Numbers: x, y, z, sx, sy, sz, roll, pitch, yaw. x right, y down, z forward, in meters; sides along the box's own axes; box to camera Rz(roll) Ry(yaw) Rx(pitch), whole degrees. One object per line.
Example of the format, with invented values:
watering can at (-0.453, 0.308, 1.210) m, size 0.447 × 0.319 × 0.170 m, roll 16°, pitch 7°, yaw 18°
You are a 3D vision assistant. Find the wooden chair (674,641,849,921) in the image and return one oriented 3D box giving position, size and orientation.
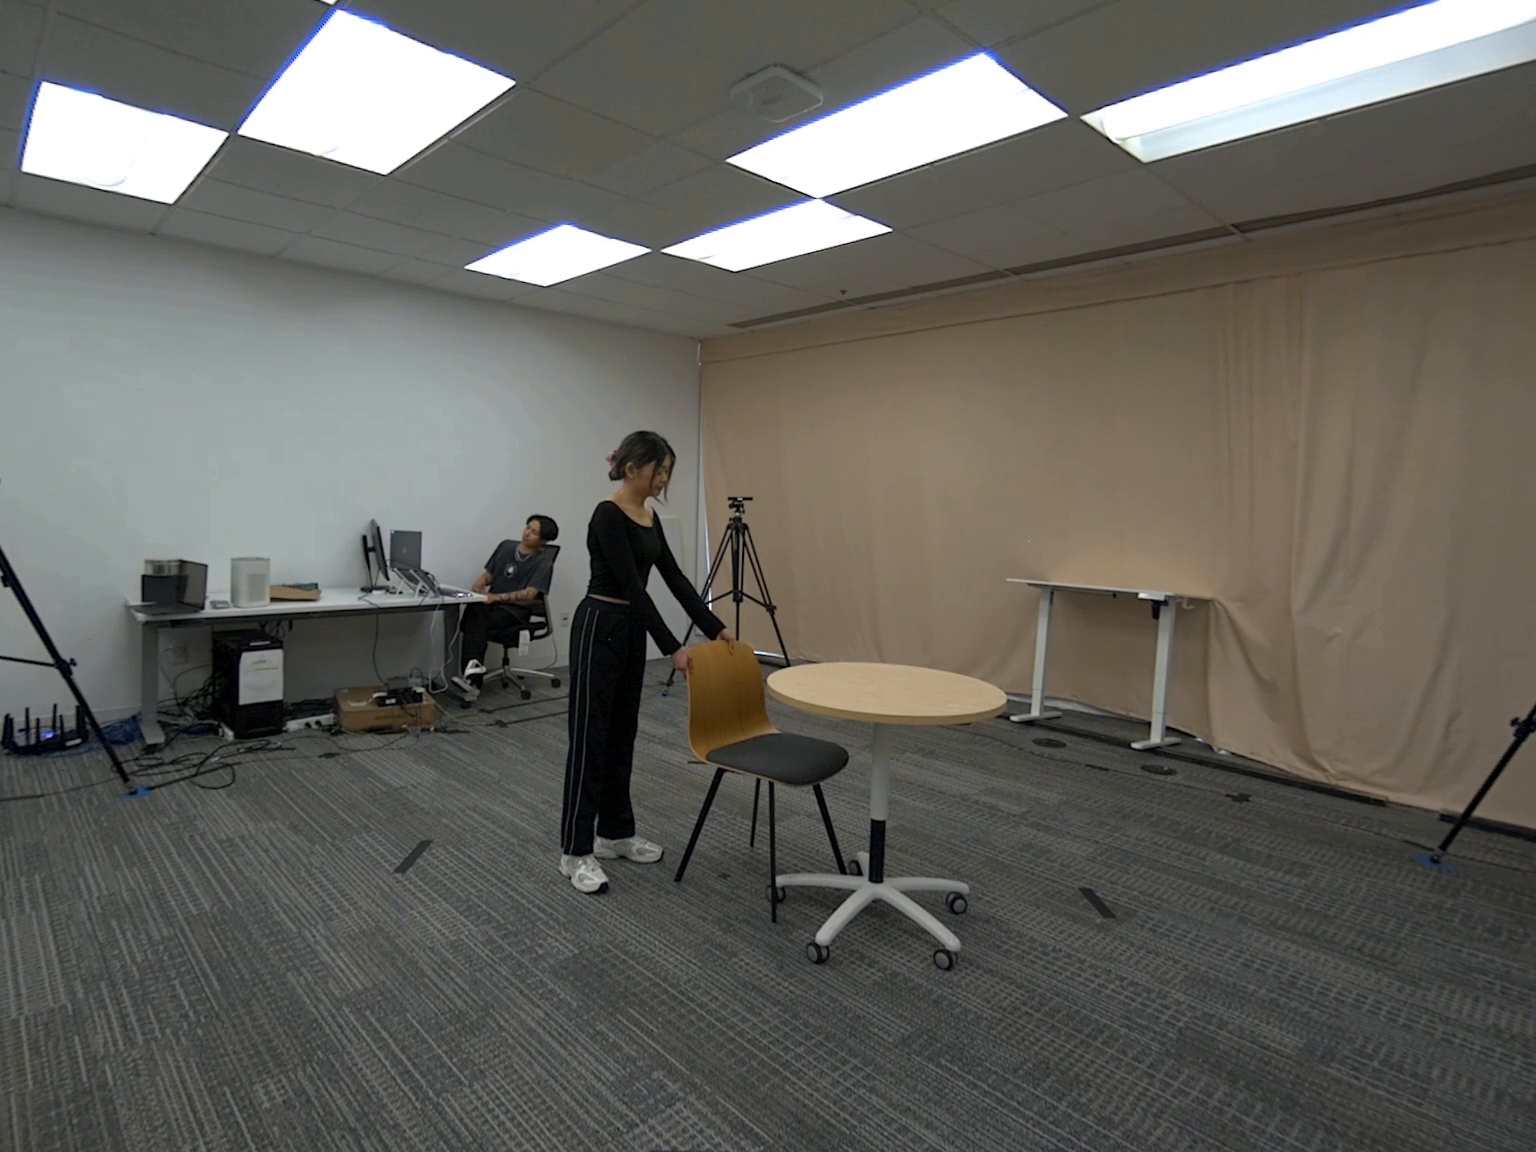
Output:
wooden chair at (-0.017, 0.683, 3.042) m, size 0.535 × 0.877 × 0.467 m, roll -2°, pitch 0°, yaw 40°
